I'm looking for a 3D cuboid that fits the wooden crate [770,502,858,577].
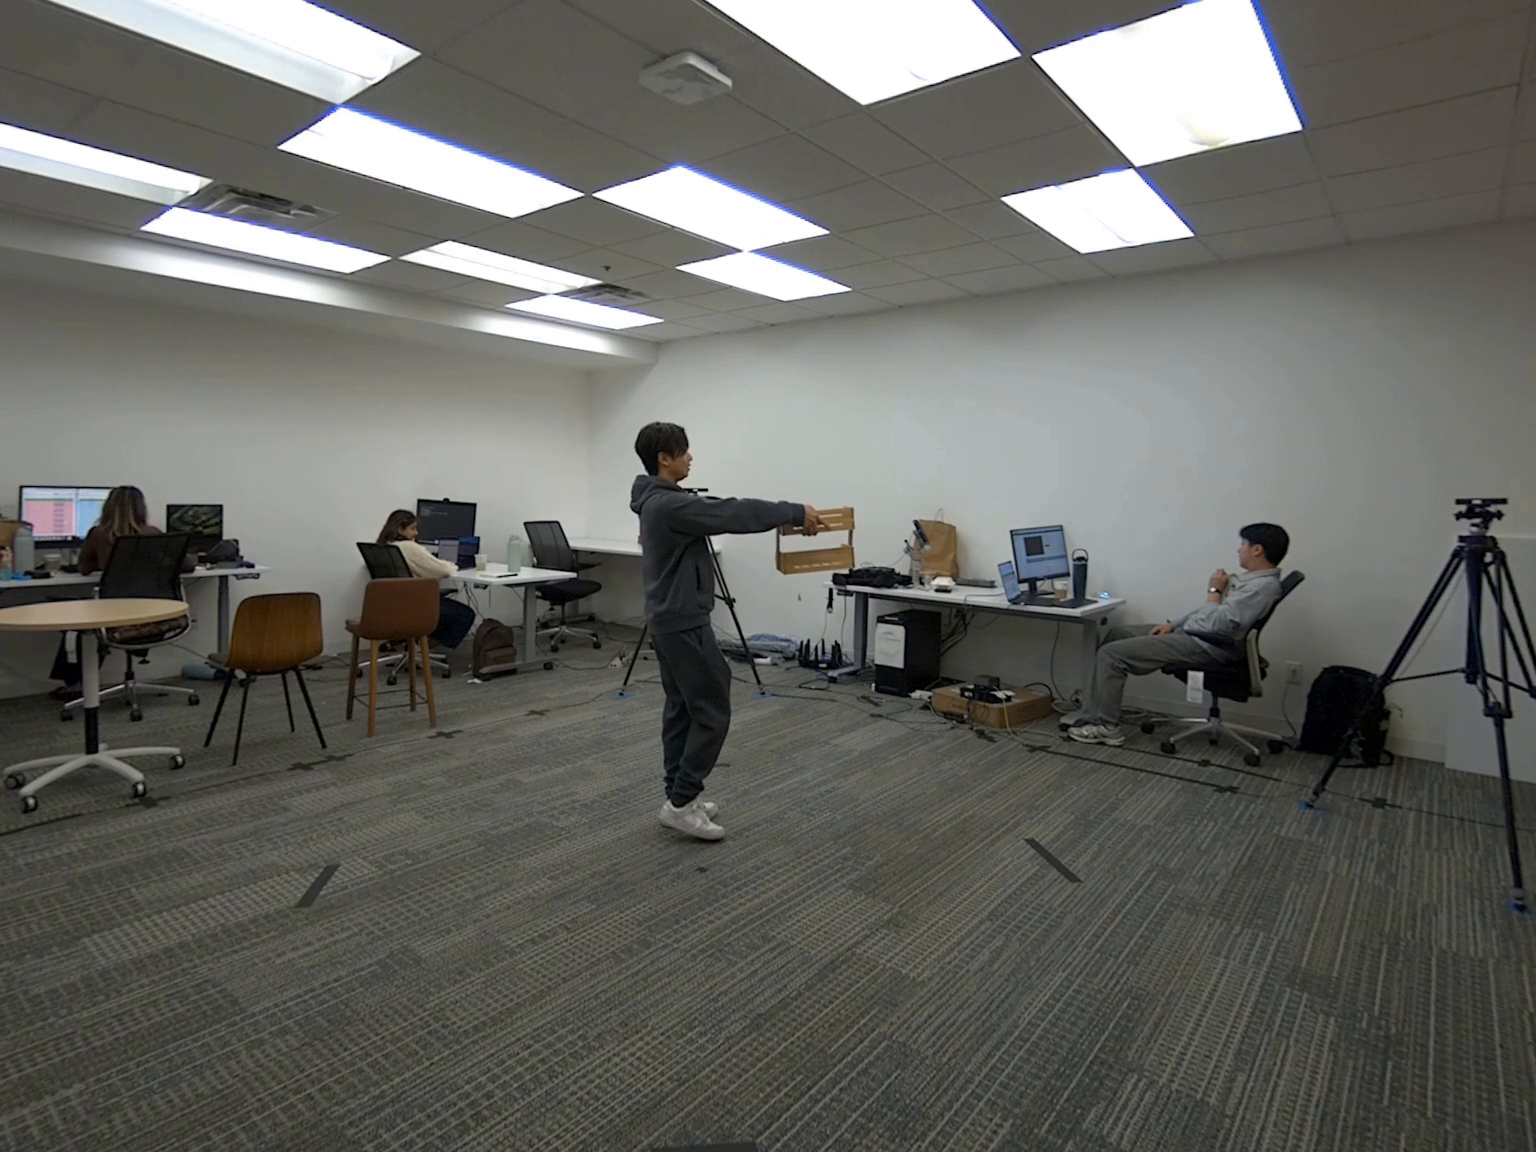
[{"bbox_3d":[0.187,-0.166,3.635,0.323,0.272,0.305,-4,7,-4],"label":"wooden crate"}]
